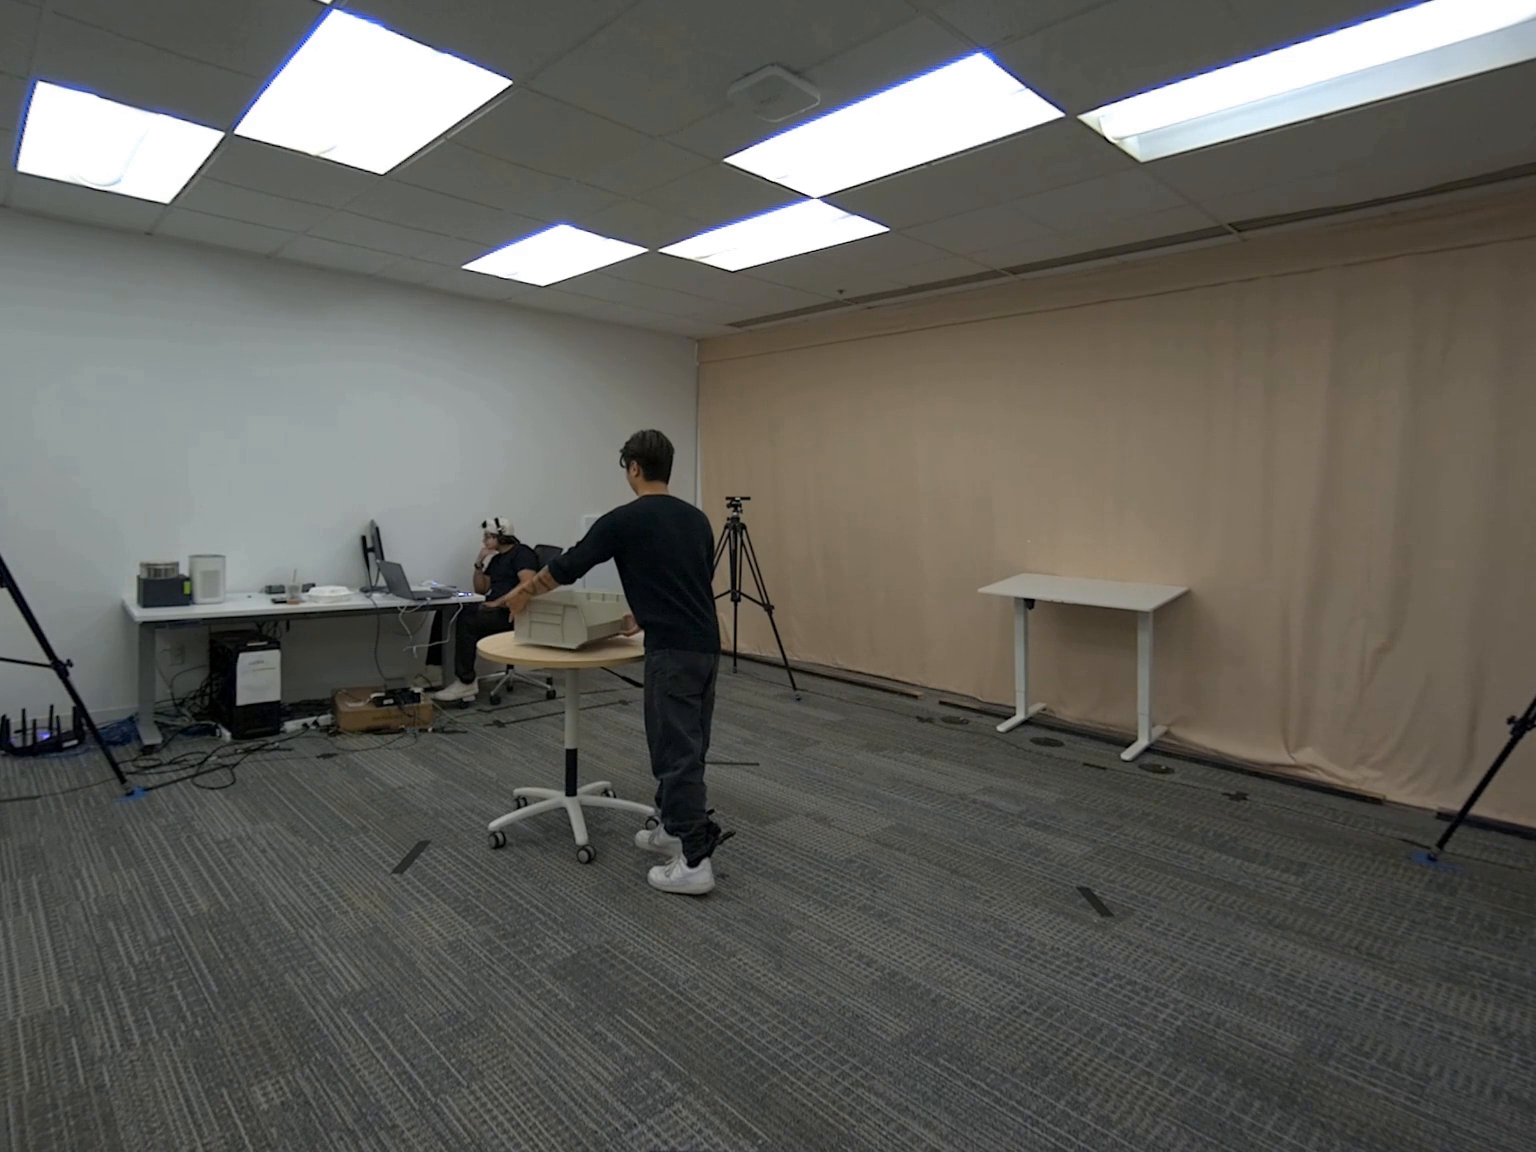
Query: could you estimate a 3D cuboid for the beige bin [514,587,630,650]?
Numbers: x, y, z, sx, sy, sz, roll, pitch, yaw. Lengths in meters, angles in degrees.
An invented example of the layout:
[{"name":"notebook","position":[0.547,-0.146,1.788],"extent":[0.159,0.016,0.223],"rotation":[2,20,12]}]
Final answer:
[{"name":"beige bin","position":[-0.790,0.169,3.472],"extent":[0.384,0.188,0.415],"rotation":[1,5,25]}]
